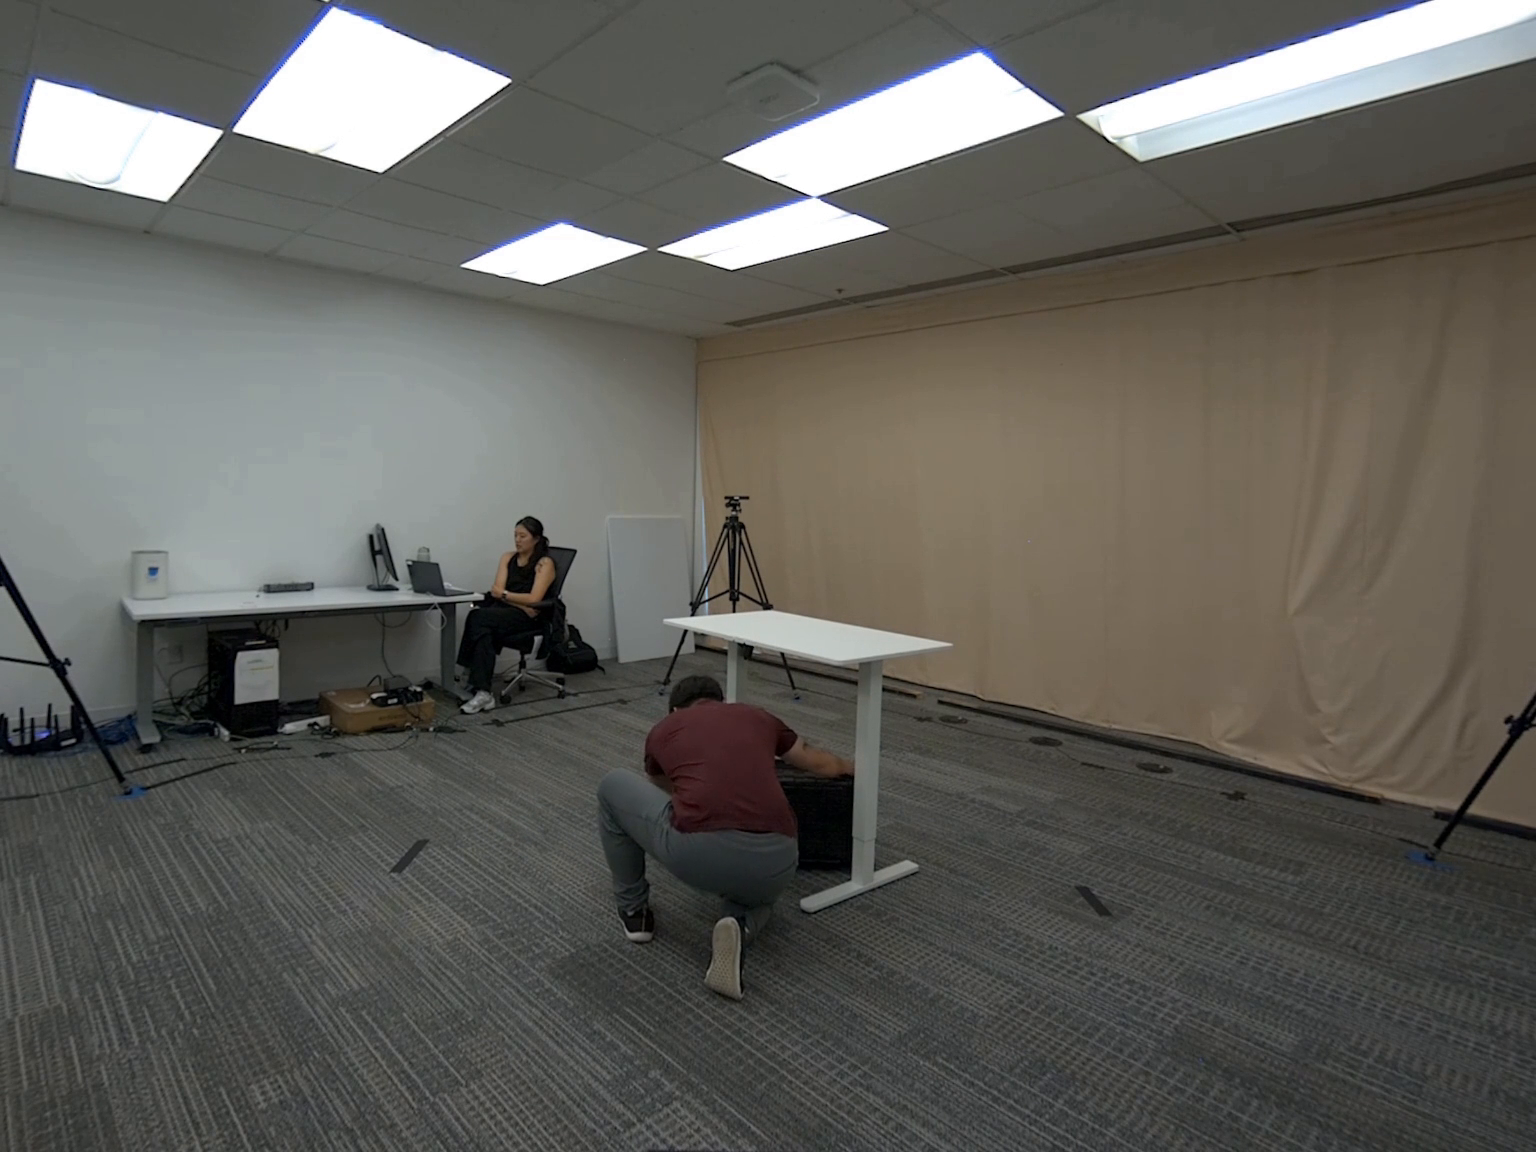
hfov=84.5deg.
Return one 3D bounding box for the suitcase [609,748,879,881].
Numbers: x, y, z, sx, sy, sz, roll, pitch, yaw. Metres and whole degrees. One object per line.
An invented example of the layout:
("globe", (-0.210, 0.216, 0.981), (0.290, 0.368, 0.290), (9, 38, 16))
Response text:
("suitcase", (-0.097, 0.902, 3.240), (0.978, 0.383, 0.257), (2, 2, -1))
